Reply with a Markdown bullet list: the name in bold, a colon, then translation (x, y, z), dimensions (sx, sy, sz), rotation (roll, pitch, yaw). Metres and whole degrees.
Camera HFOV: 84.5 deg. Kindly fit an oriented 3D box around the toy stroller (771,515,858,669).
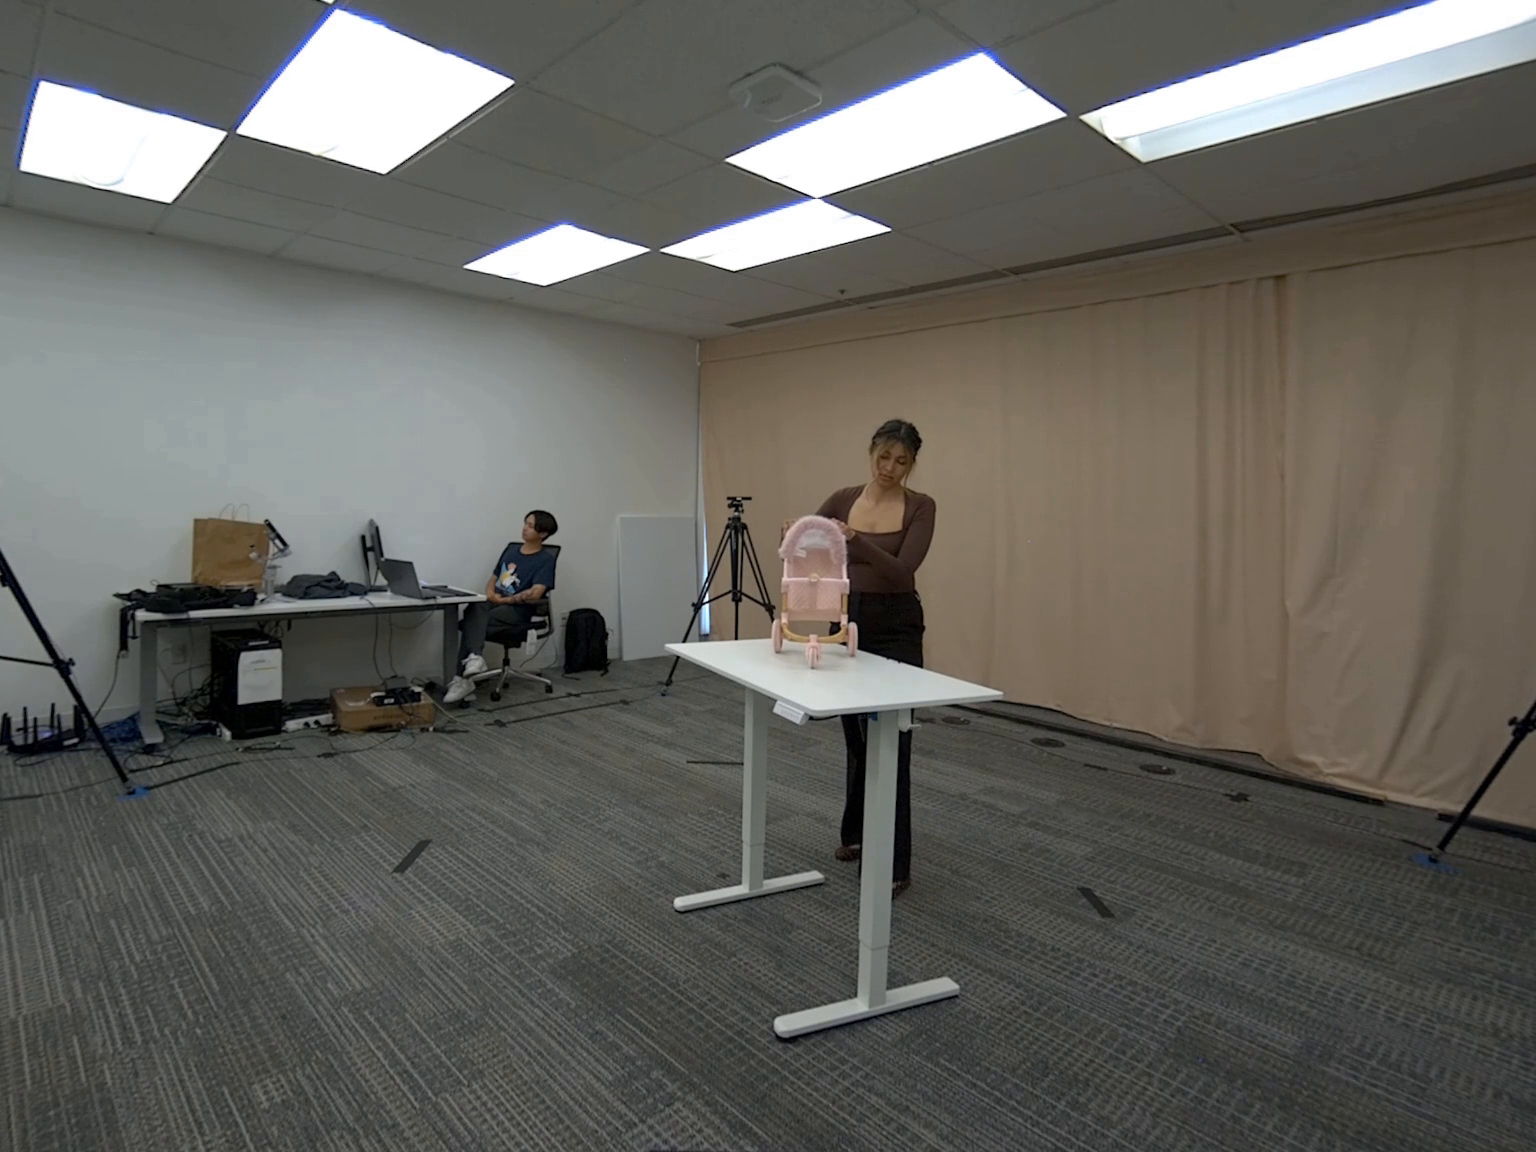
- **toy stroller**: translation (0.148, 0.049, 2.721), dimensions (0.284, 0.540, 0.336), rotation (1, -12, 9)
